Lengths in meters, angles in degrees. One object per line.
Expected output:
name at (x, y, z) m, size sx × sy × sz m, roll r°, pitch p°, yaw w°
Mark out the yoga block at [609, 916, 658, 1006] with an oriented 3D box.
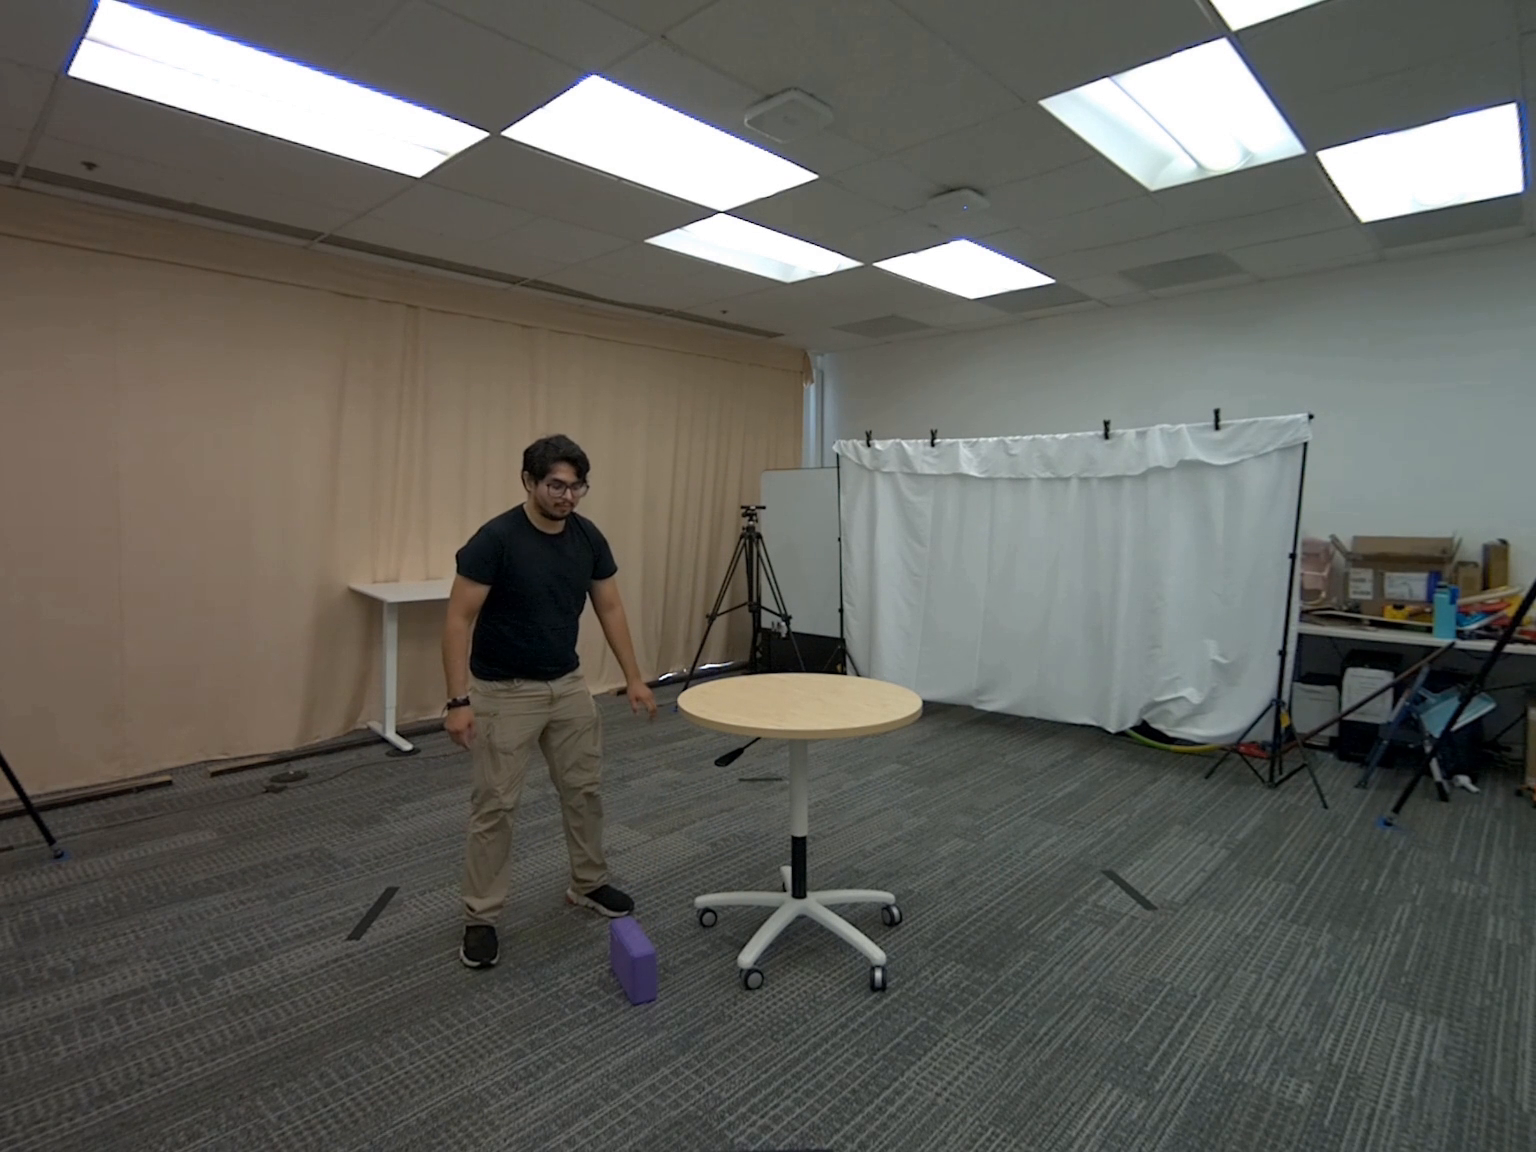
yoga block at (-0.391, 1.116, 2.450) m, size 0.074 × 0.149 × 0.235 m, roll 0°, pitch 4°, yaw -26°
